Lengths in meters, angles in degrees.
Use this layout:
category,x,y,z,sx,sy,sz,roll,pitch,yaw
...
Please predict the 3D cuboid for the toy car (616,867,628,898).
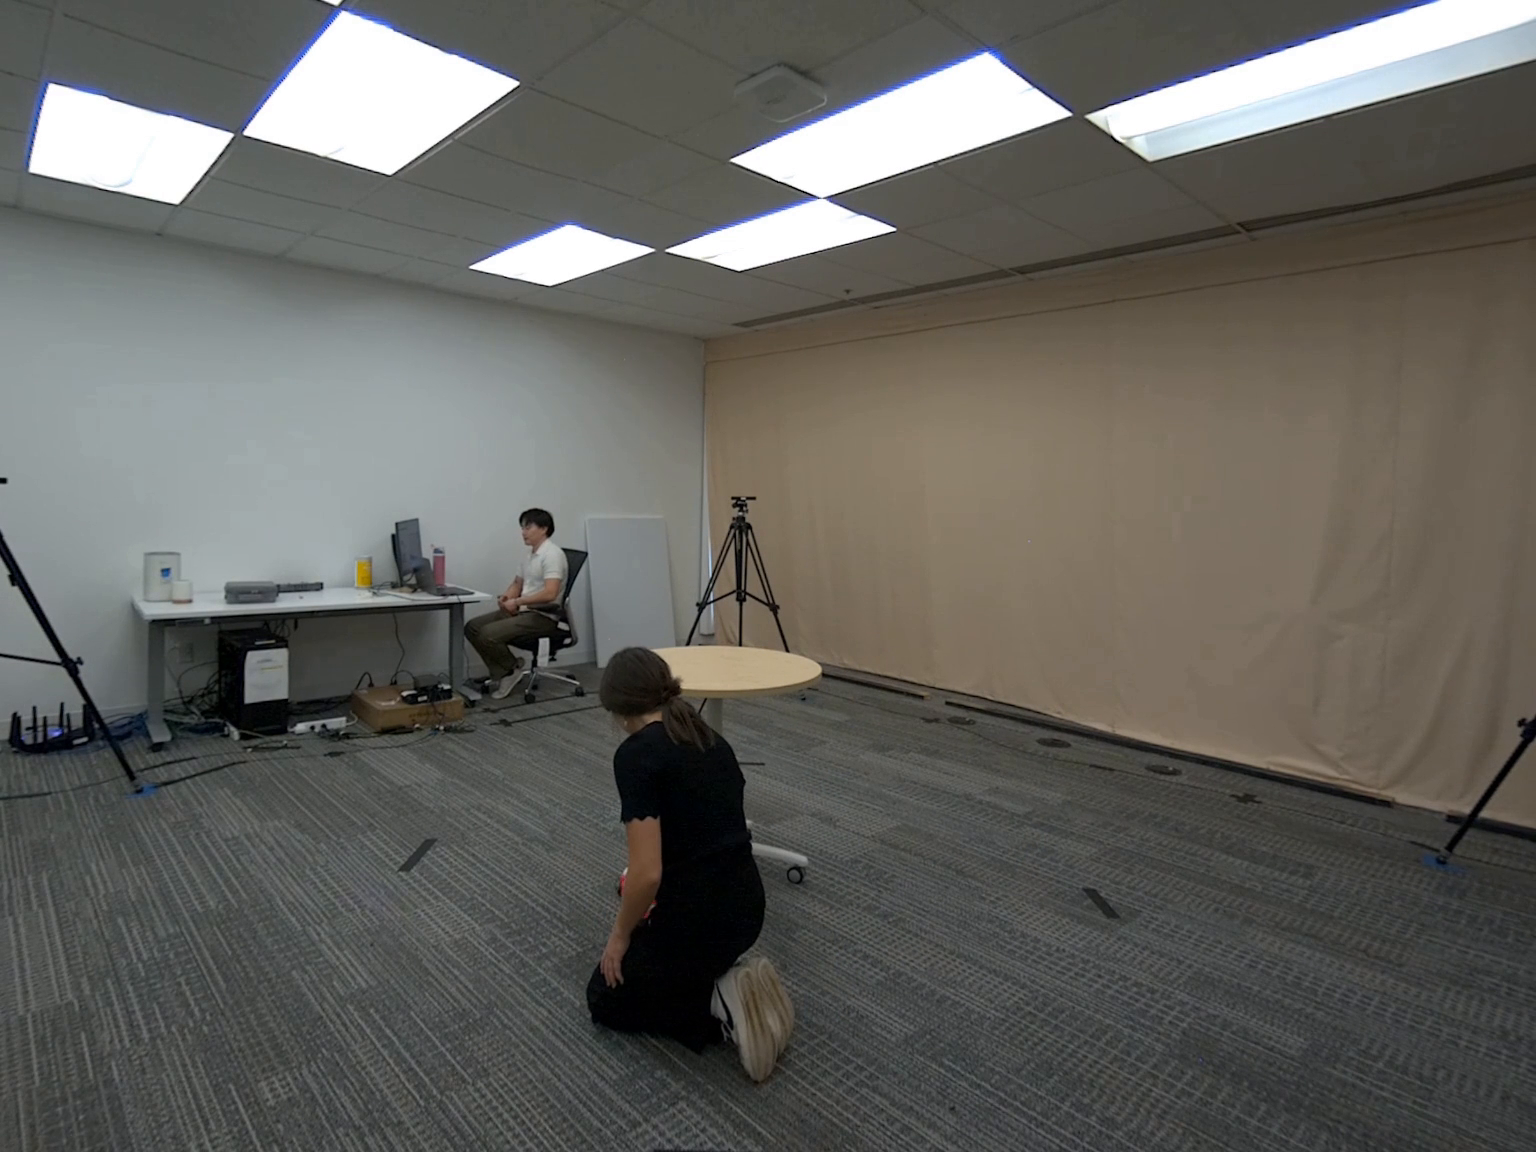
category,x,y,z,sx,sy,sz,roll,pitch,yaw
toy car,-0.401,1.014,2.567,0.128,0.083,0.259,19,-2,-19
